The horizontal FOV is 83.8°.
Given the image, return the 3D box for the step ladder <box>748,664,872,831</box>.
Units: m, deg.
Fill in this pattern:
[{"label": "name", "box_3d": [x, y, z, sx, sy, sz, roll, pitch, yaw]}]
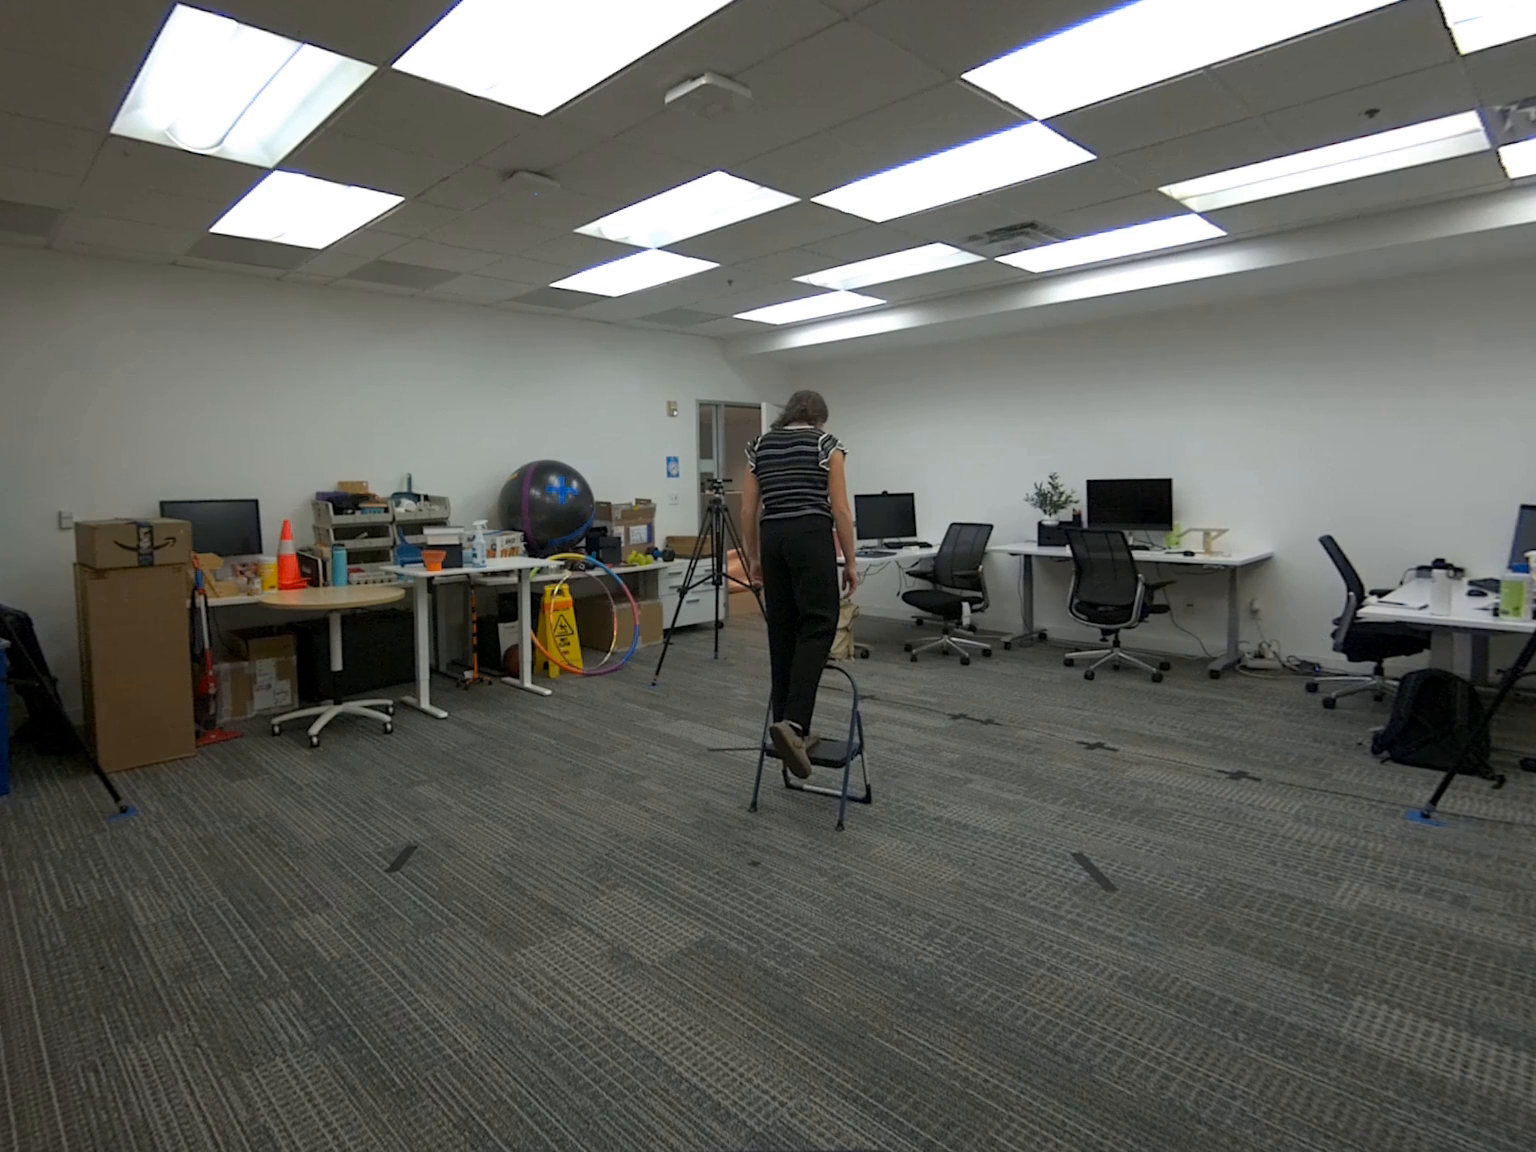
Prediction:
[{"label": "step ladder", "box_3d": [0.185, 0.682, 3.617, 0.442, 0.604, 0.341, 2, 5, 30]}]
